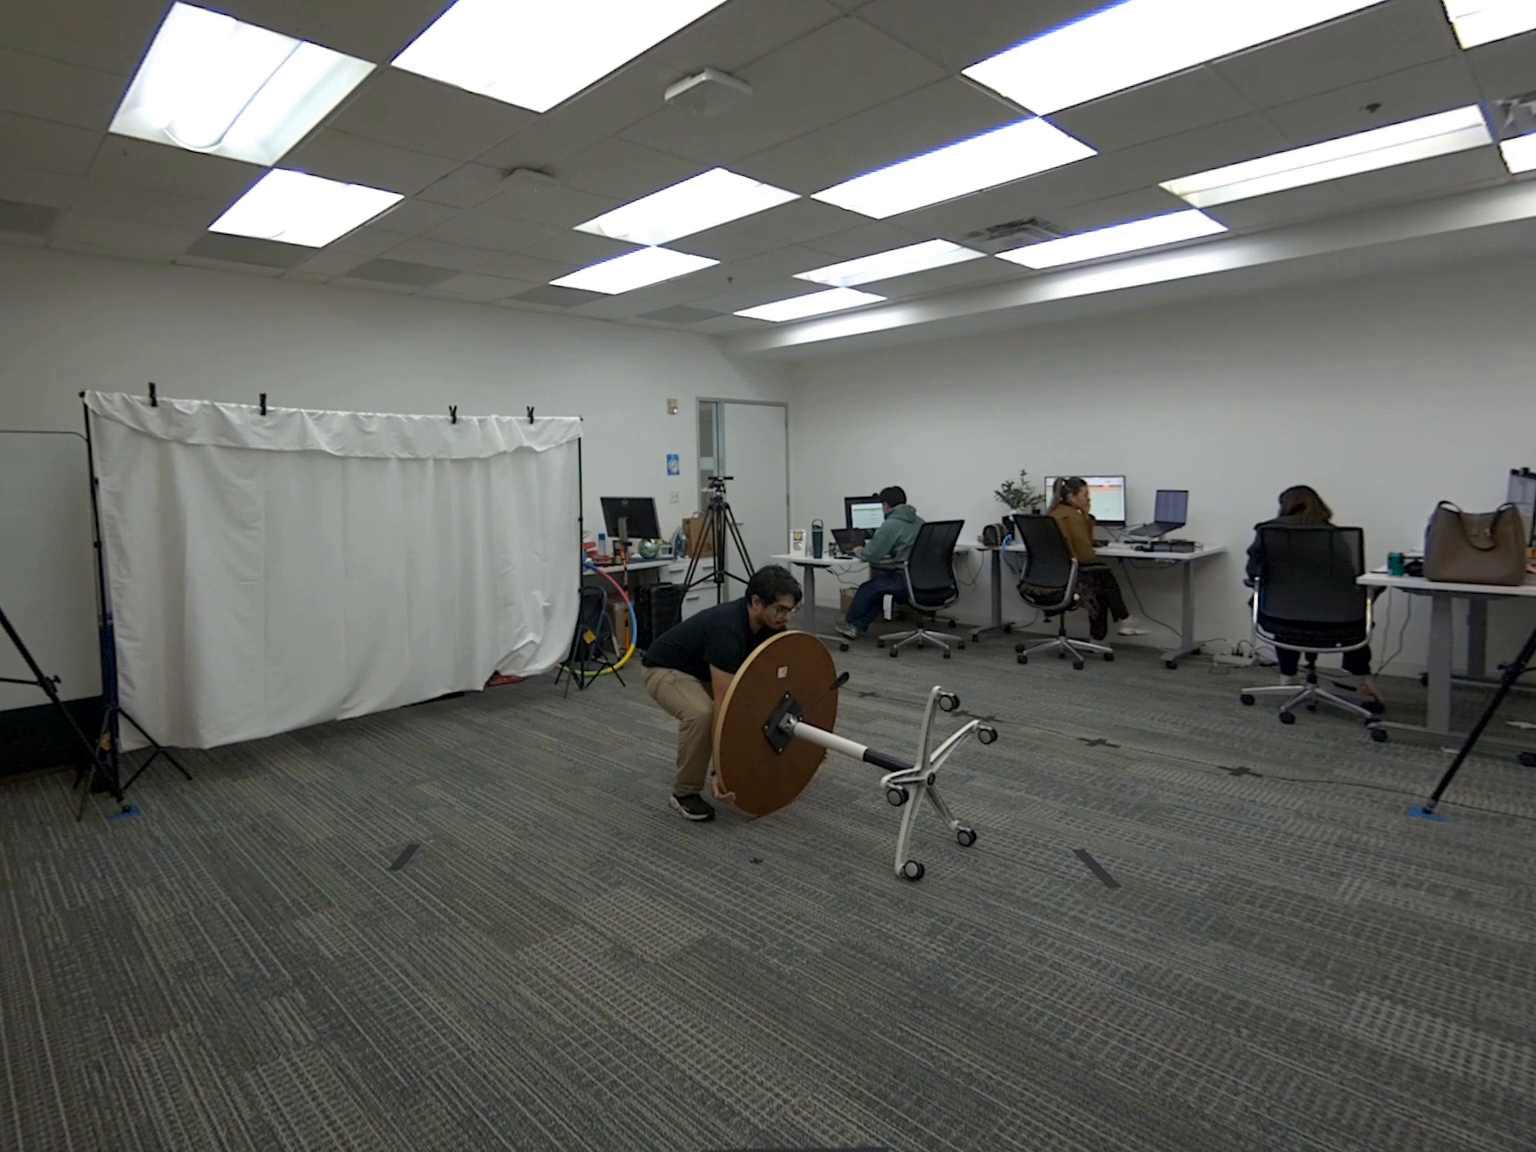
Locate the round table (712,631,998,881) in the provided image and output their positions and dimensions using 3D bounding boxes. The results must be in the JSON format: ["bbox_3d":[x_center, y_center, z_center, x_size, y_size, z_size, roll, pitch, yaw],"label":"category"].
[{"bbox_3d":[0.342,0.677,3.265,0.814,0.779,0.765,13,13,41],"label":"round table"}]
